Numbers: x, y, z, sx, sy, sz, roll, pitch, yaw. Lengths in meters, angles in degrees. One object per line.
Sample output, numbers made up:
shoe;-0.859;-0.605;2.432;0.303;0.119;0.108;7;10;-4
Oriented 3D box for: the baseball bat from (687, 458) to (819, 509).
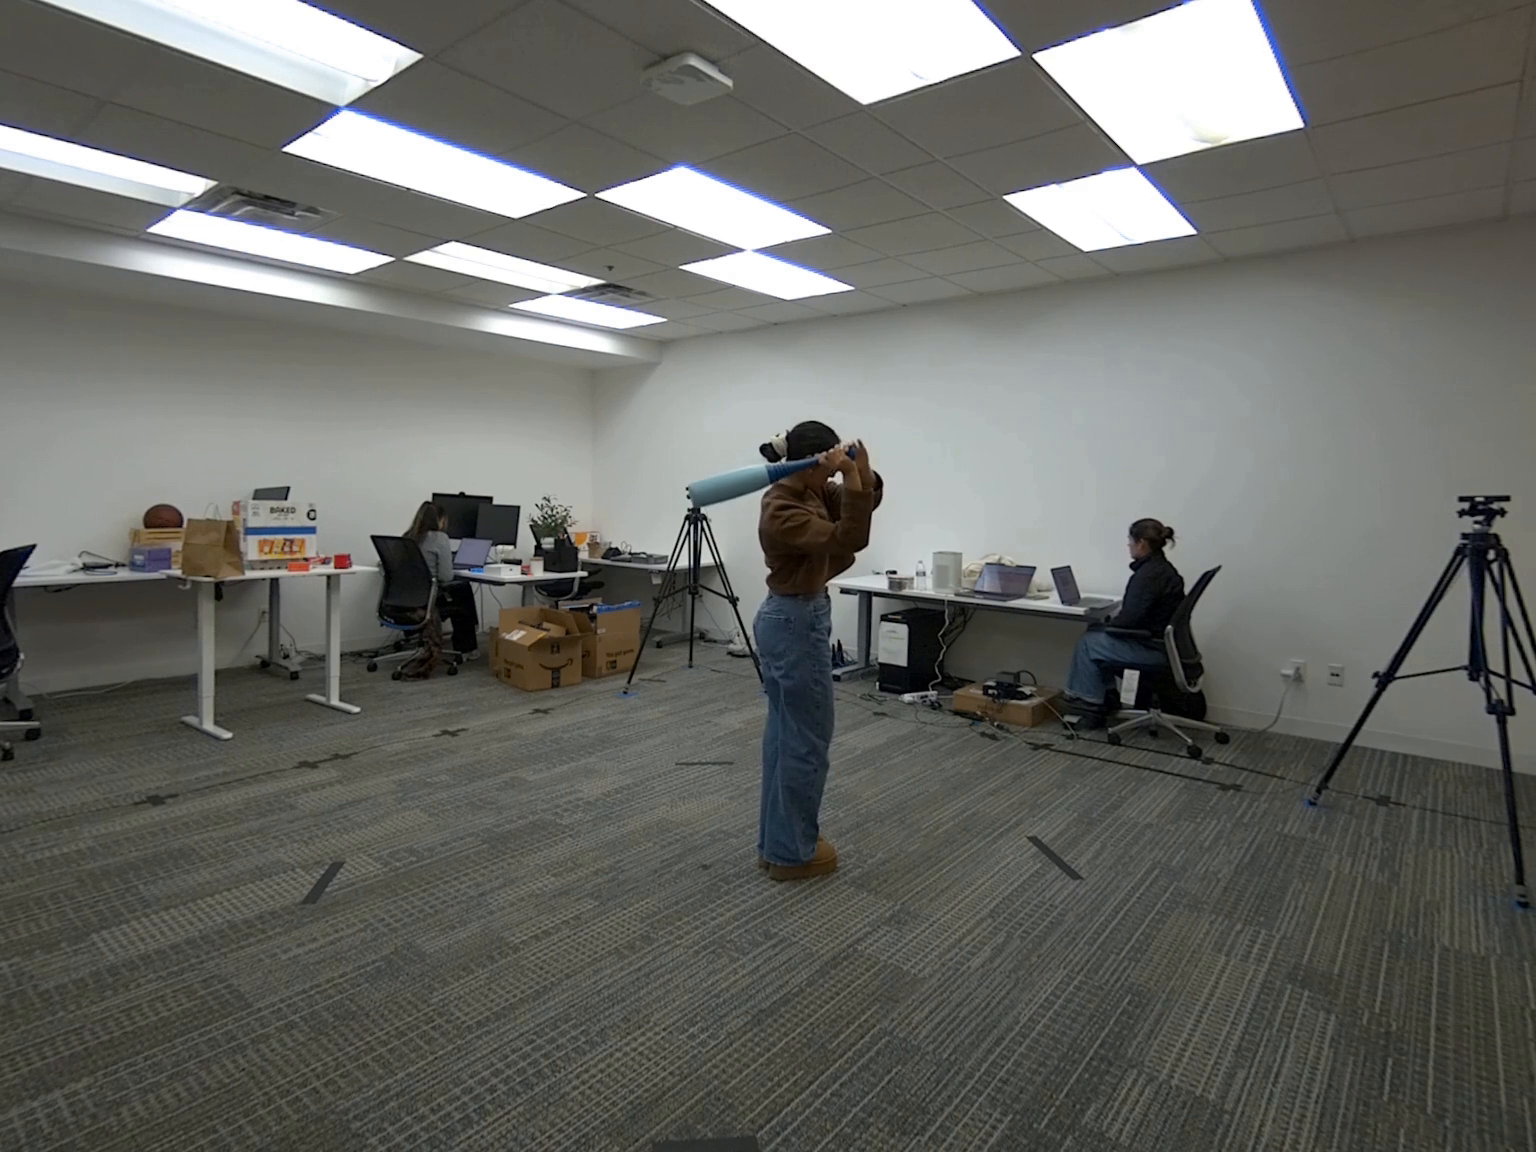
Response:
baseball bat;0.009;-0.317;2.678;0.544;0.089;0.089;-15;4;2
